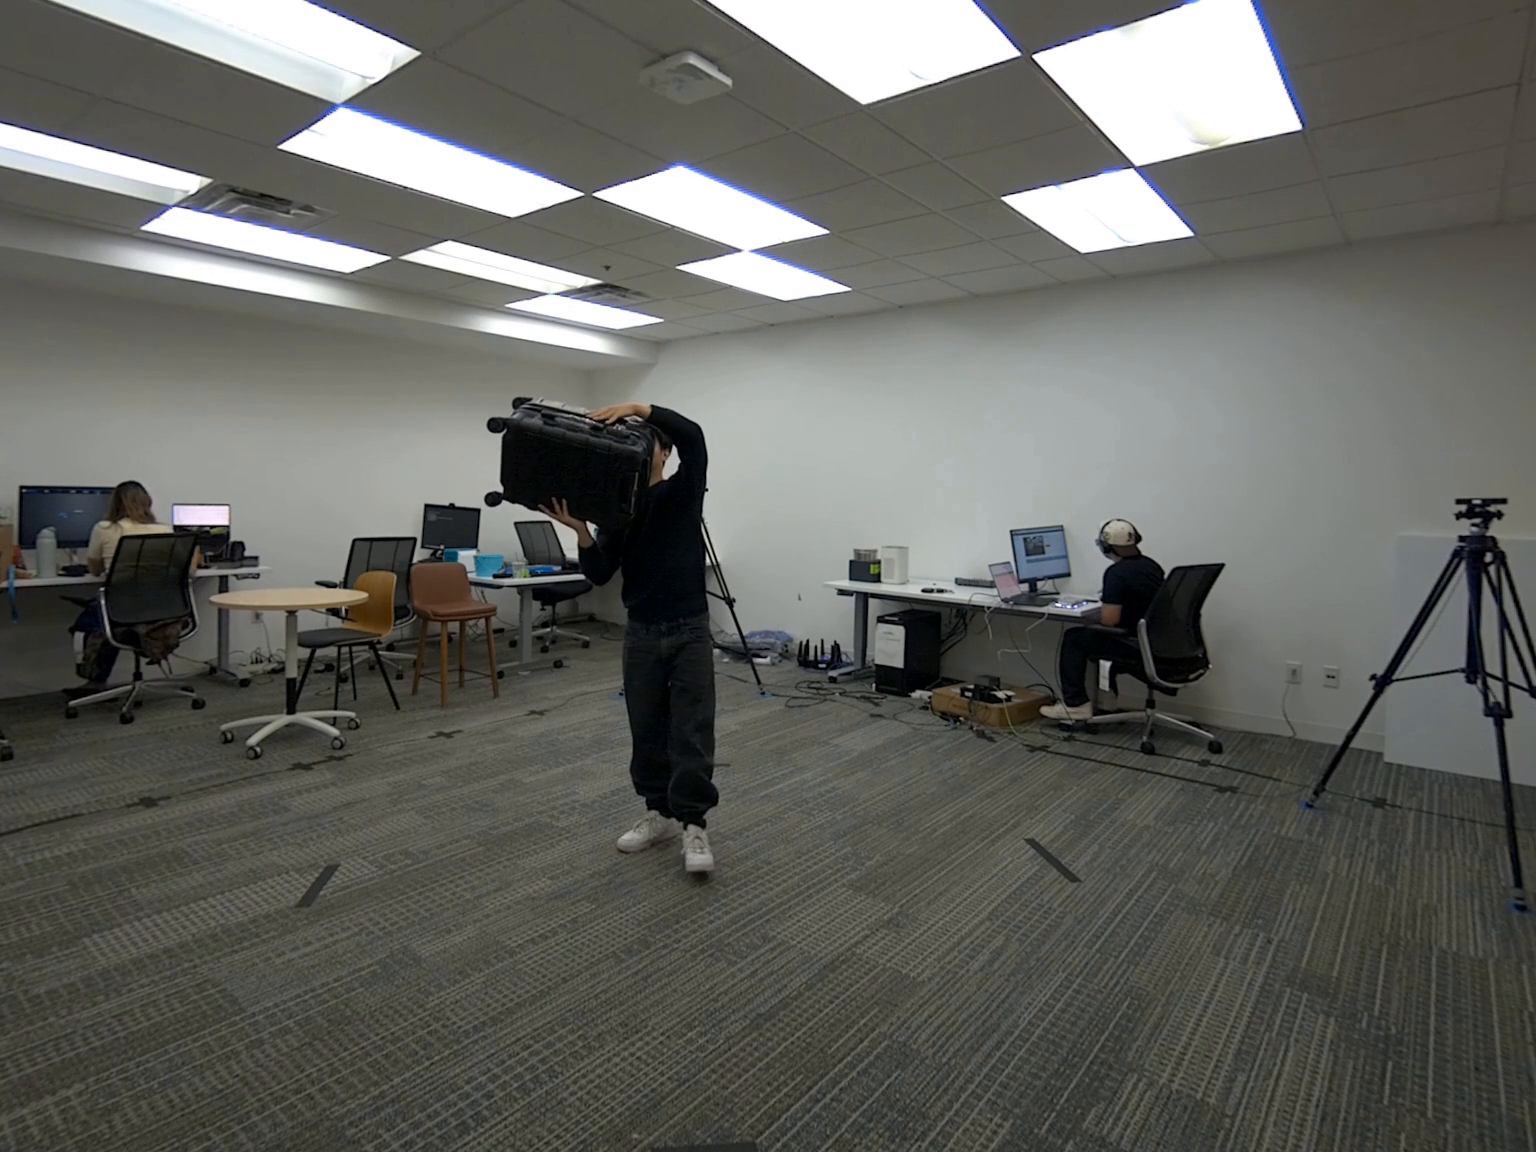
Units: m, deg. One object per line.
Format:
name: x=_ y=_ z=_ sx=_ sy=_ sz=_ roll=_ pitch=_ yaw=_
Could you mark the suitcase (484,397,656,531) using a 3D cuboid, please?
suitcase: x=-0.696 y=-0.403 z=2.995 sx=0.553 sy=0.368 sz=0.251 roll=14 pitch=30 yaw=5
